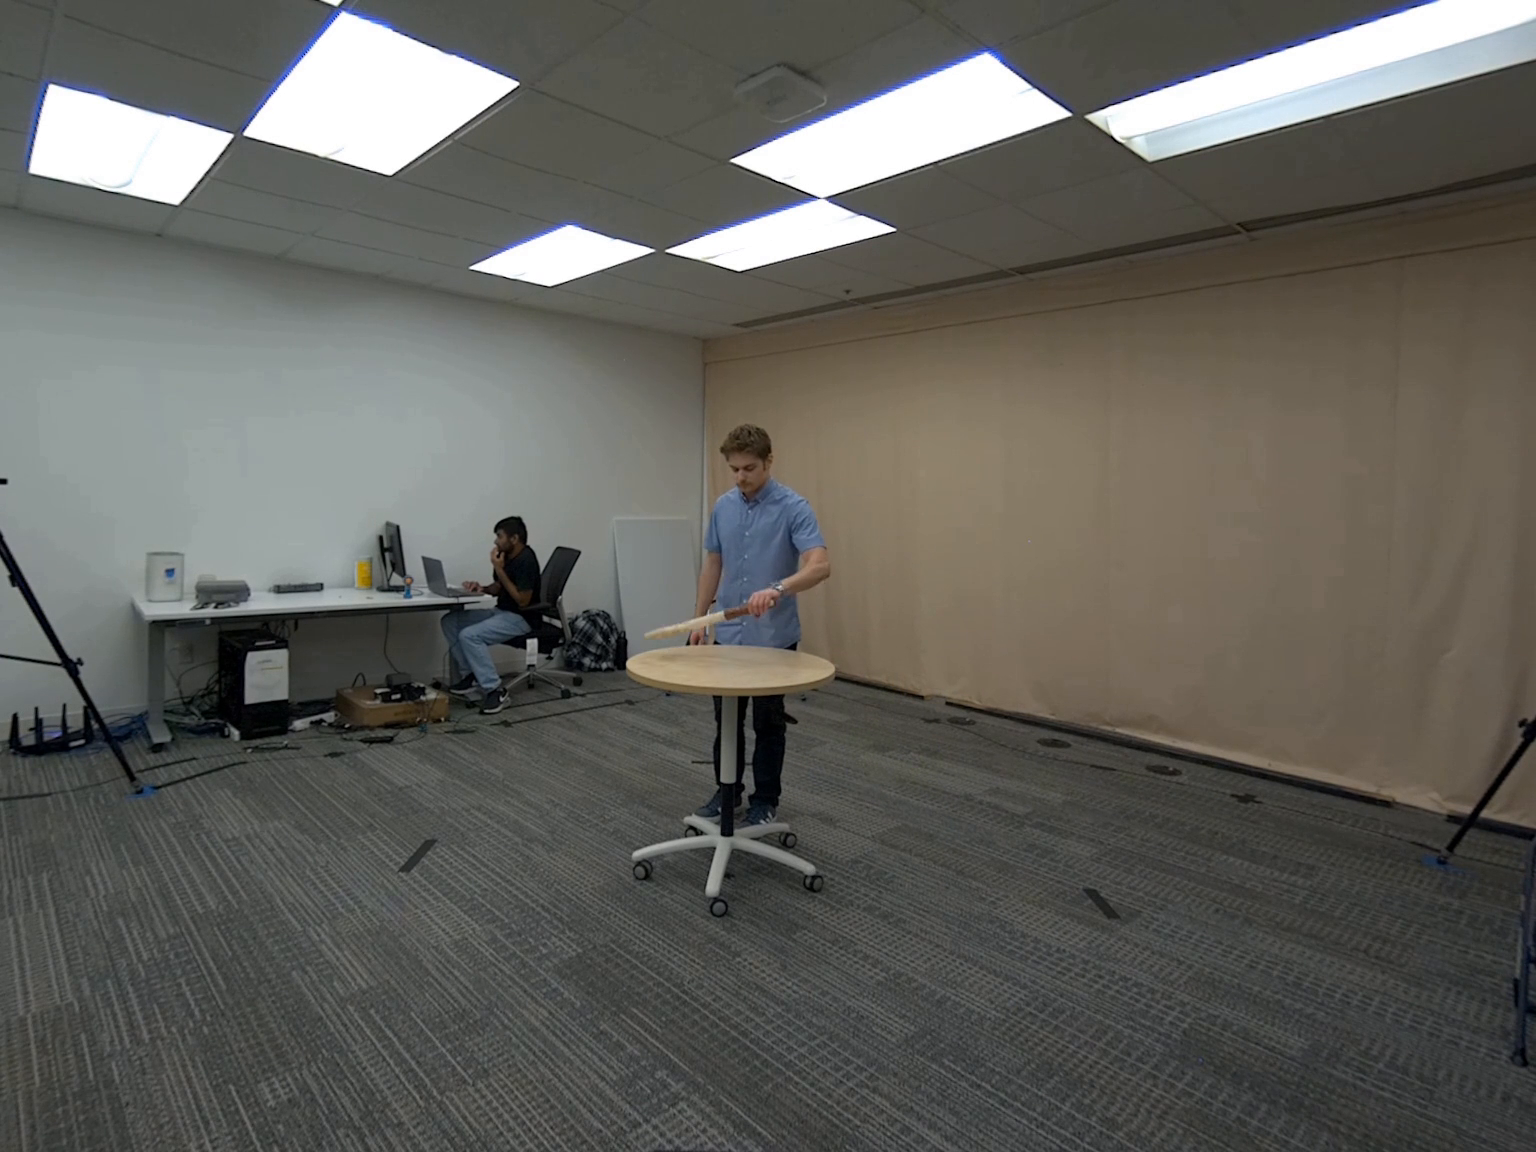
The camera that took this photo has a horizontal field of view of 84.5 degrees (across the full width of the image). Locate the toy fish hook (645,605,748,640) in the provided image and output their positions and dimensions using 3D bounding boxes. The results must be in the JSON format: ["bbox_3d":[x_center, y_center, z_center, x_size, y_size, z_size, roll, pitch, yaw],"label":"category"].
[{"bbox_3d":[-0.222,0.157,3.097,0.511,0.048,0.222,-15,1,17],"label":"toy fish hook"}]
